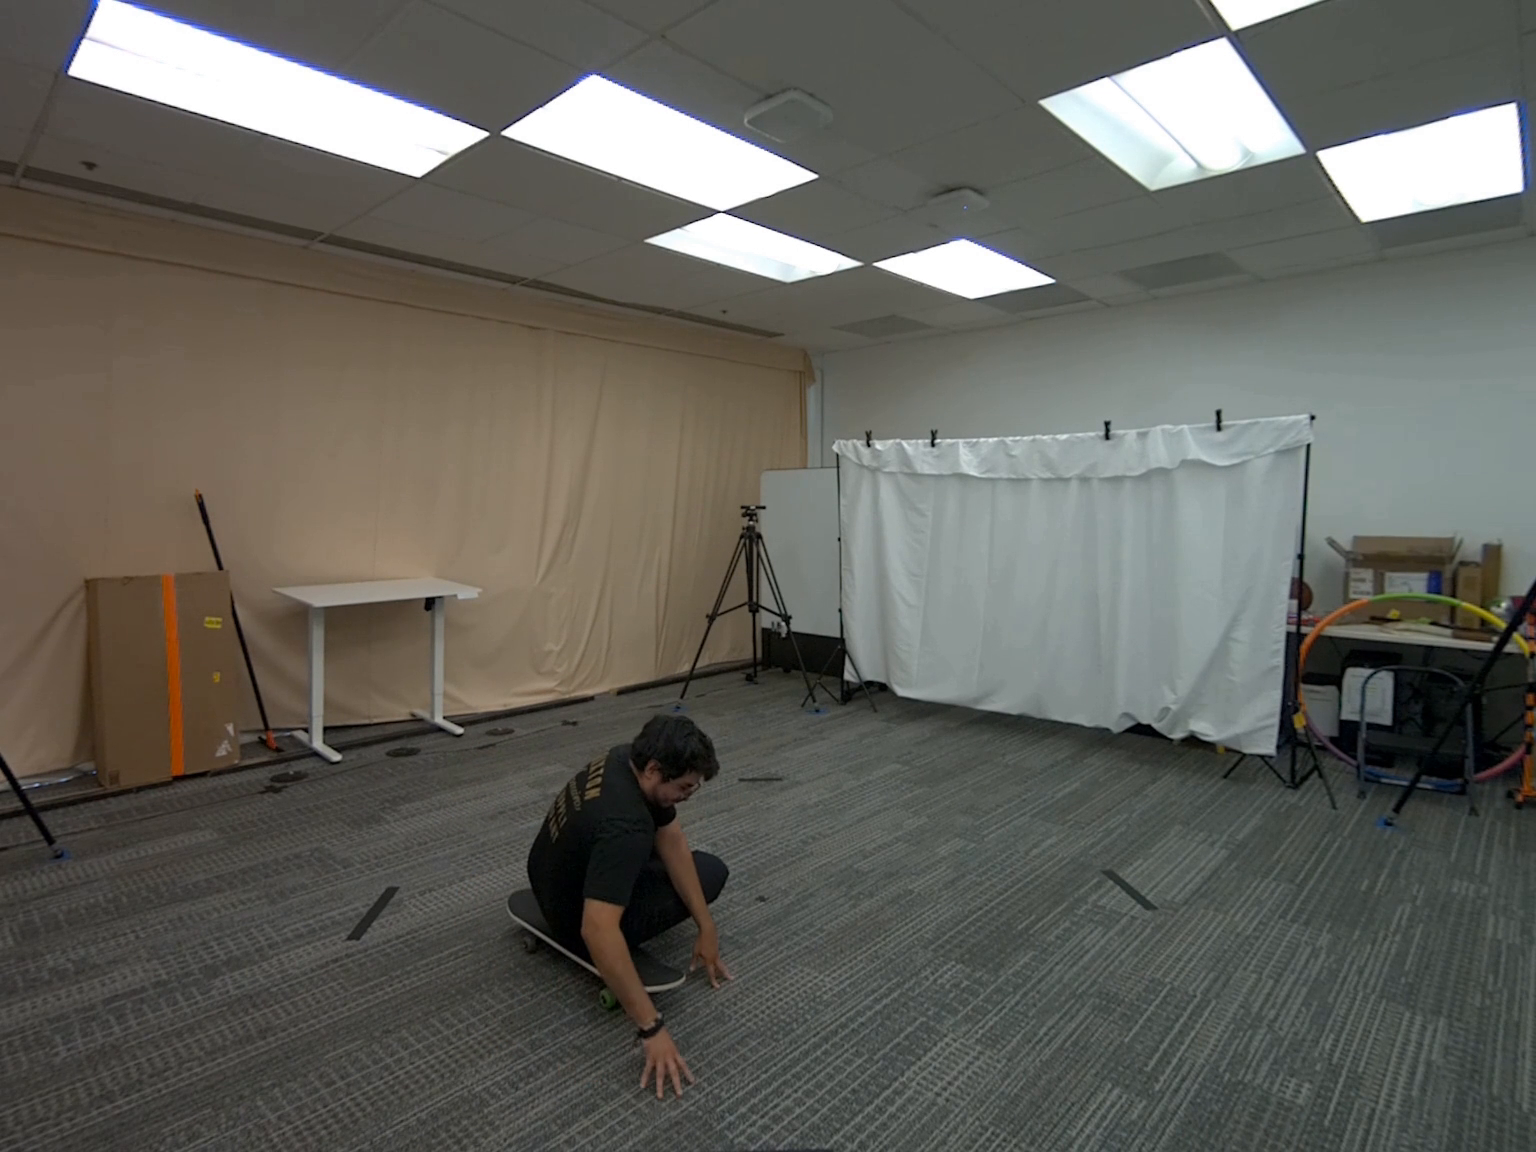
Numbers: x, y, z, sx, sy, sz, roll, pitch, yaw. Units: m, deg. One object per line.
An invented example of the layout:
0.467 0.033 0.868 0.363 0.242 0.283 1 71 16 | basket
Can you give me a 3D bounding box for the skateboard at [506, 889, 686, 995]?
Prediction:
-0.544 1.130 2.536 0.811 0.110 0.187 3 -1 44 | skateboard
